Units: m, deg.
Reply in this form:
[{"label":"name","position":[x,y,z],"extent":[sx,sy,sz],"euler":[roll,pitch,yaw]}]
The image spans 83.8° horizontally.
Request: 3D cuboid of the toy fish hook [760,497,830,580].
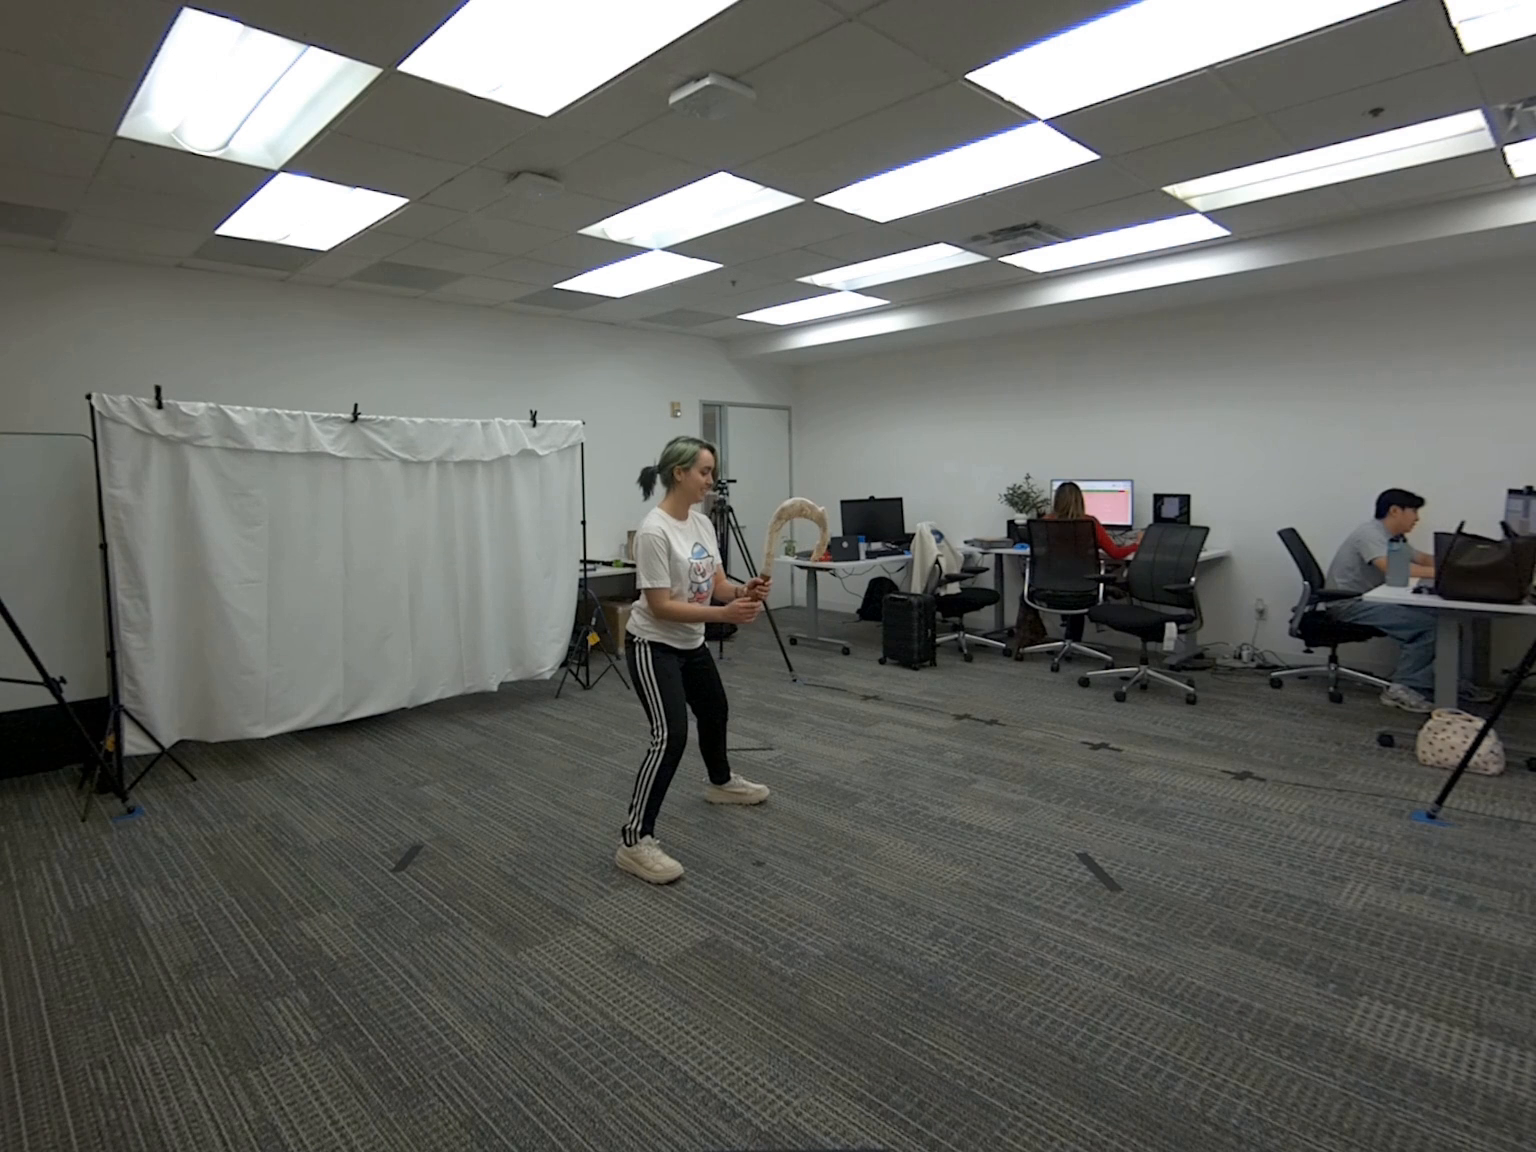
[{"label":"toy fish hook","position":[0.048,-0.038,3.106],"extent":[0.226,0.505,0.048],"euler":[26,8,7]}]
